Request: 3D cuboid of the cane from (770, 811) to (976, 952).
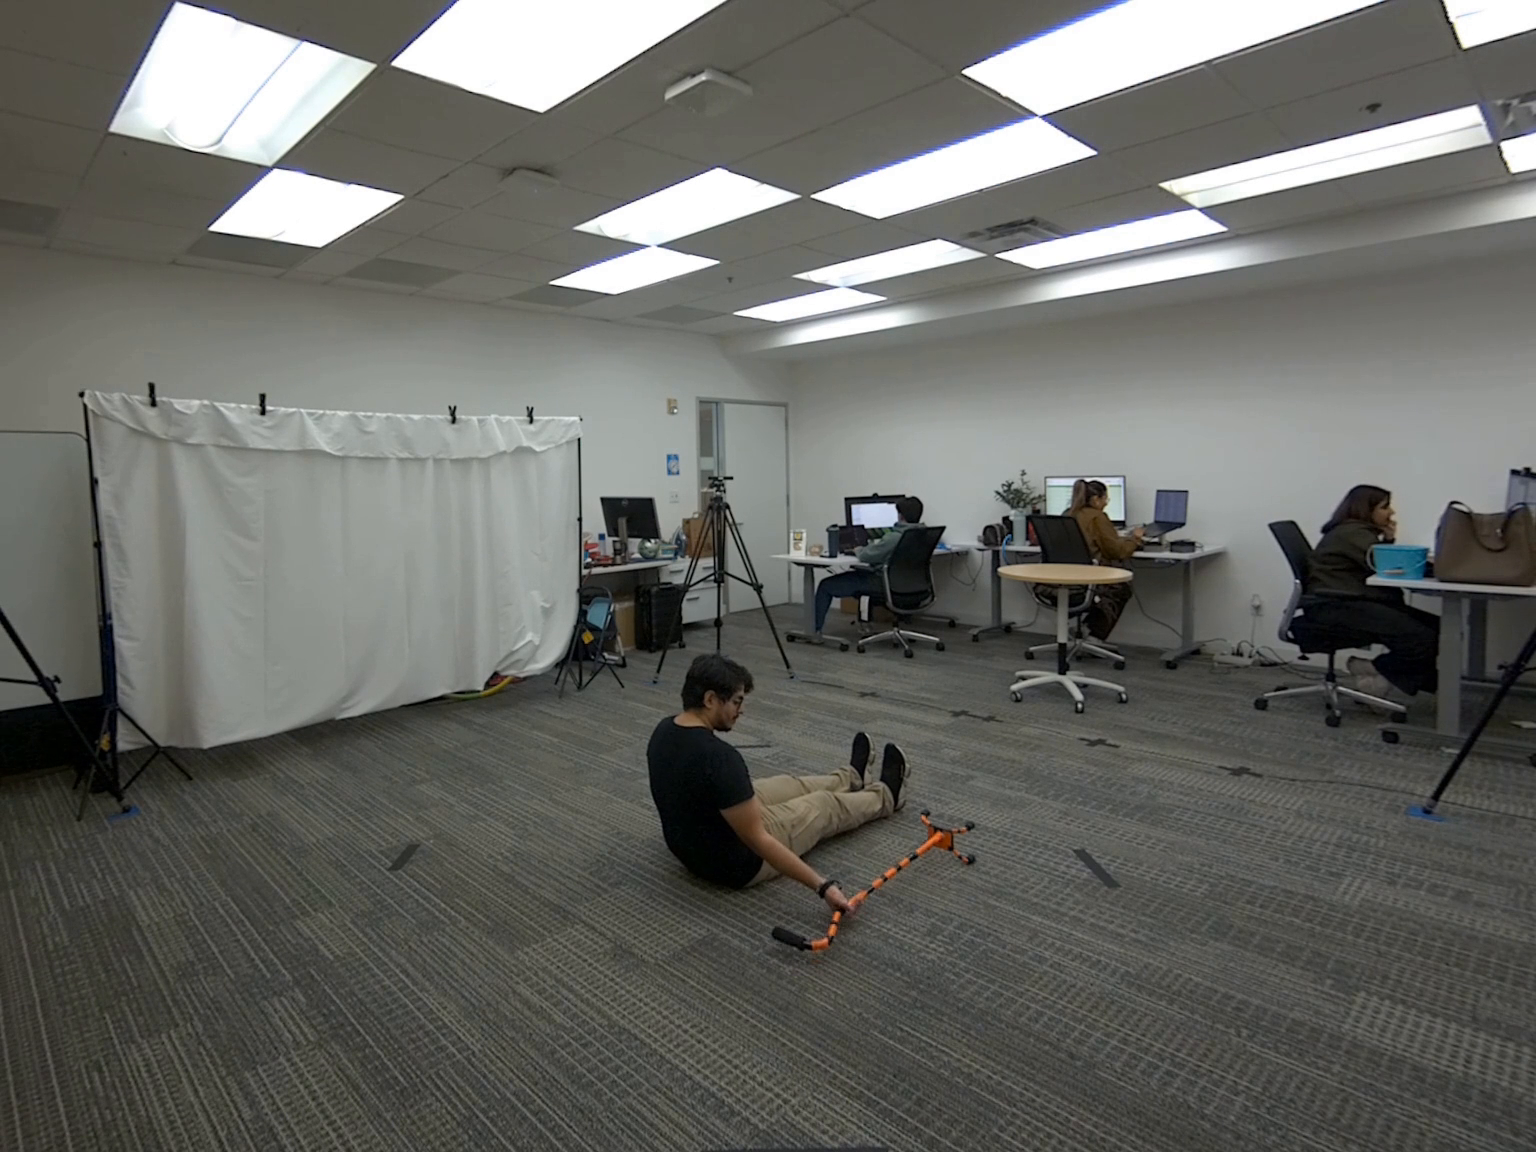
[{"bbox_3d":[0.371,0.989,2.793,0.213,0.150,0.886,5,12,41],"label":"cane"}]
